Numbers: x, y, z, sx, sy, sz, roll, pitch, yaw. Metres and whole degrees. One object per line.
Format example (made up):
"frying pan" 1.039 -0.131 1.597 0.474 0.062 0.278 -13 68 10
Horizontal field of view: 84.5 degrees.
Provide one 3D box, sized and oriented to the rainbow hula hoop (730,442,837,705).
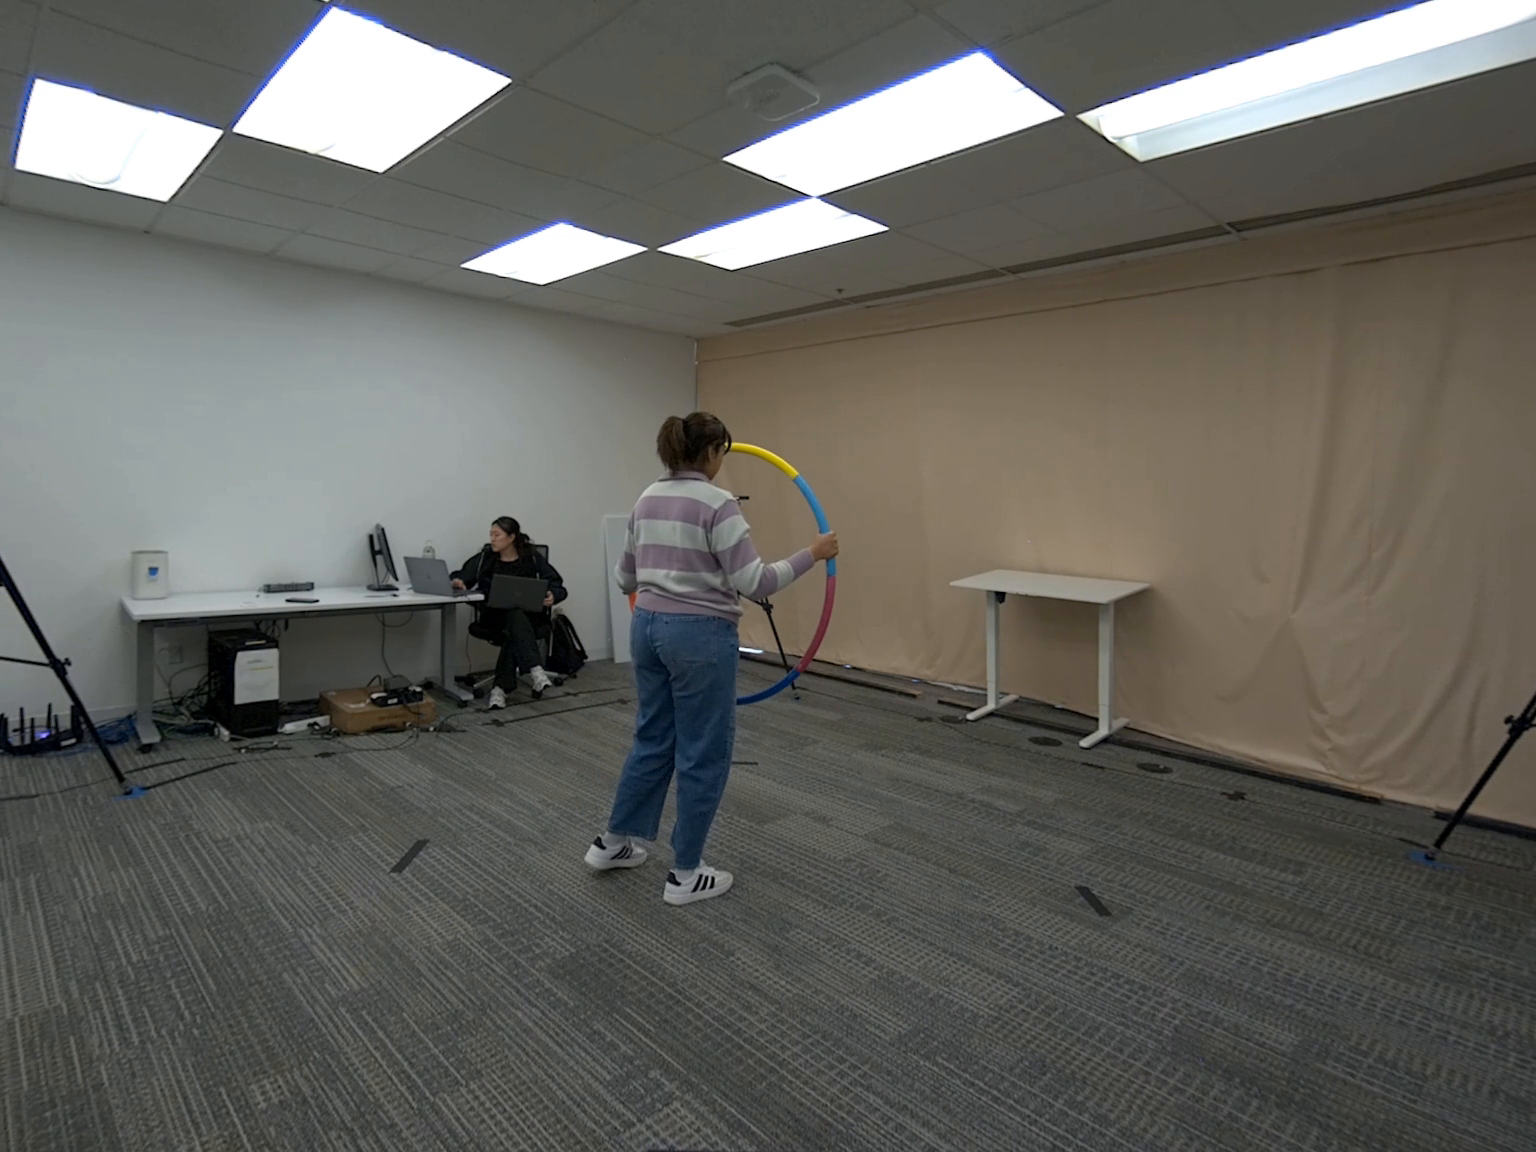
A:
"rainbow hula hoop" -0.180 -0.010 3.180 1.002 0.978 0.035 4 1 36
